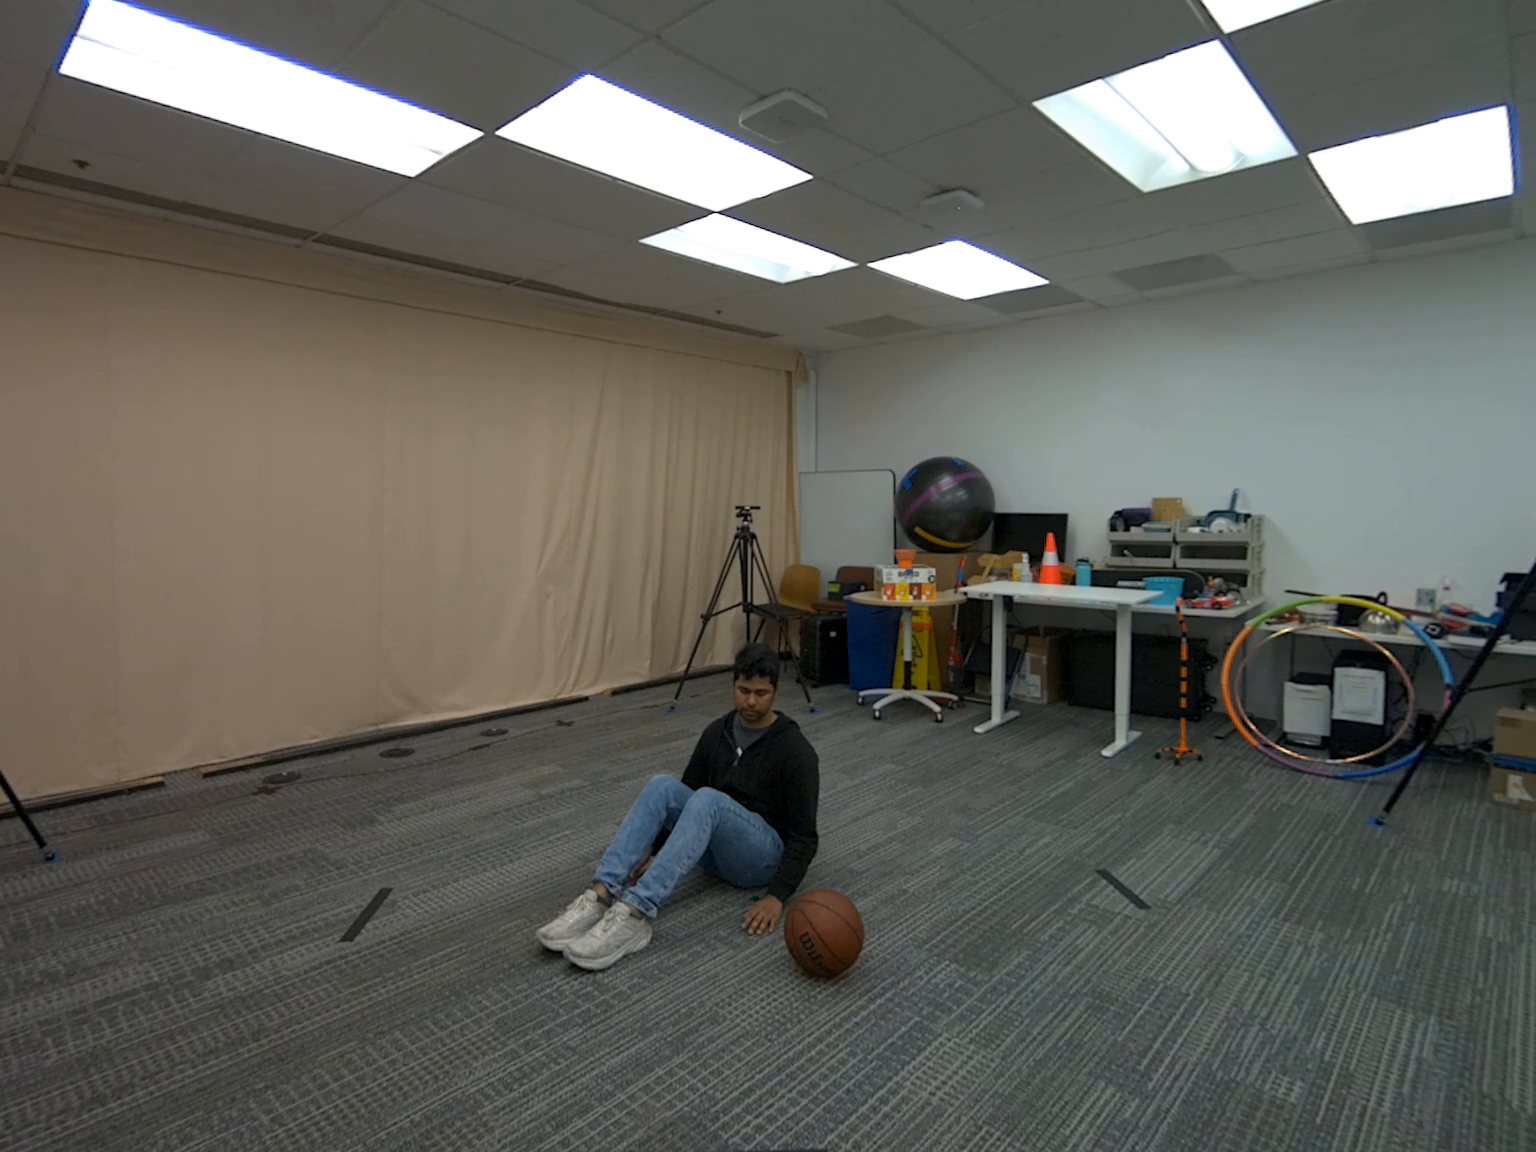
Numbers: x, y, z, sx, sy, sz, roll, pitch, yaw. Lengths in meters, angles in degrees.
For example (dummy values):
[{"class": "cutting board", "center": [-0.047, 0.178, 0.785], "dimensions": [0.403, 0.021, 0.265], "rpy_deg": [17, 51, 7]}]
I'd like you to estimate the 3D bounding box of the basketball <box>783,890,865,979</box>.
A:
[{"class": "basketball", "center": [0.167, 1.055, 2.521], "dimensions": [0.236, 0.235, 0.237], "rpy_deg": [0, 4, -2]}]
